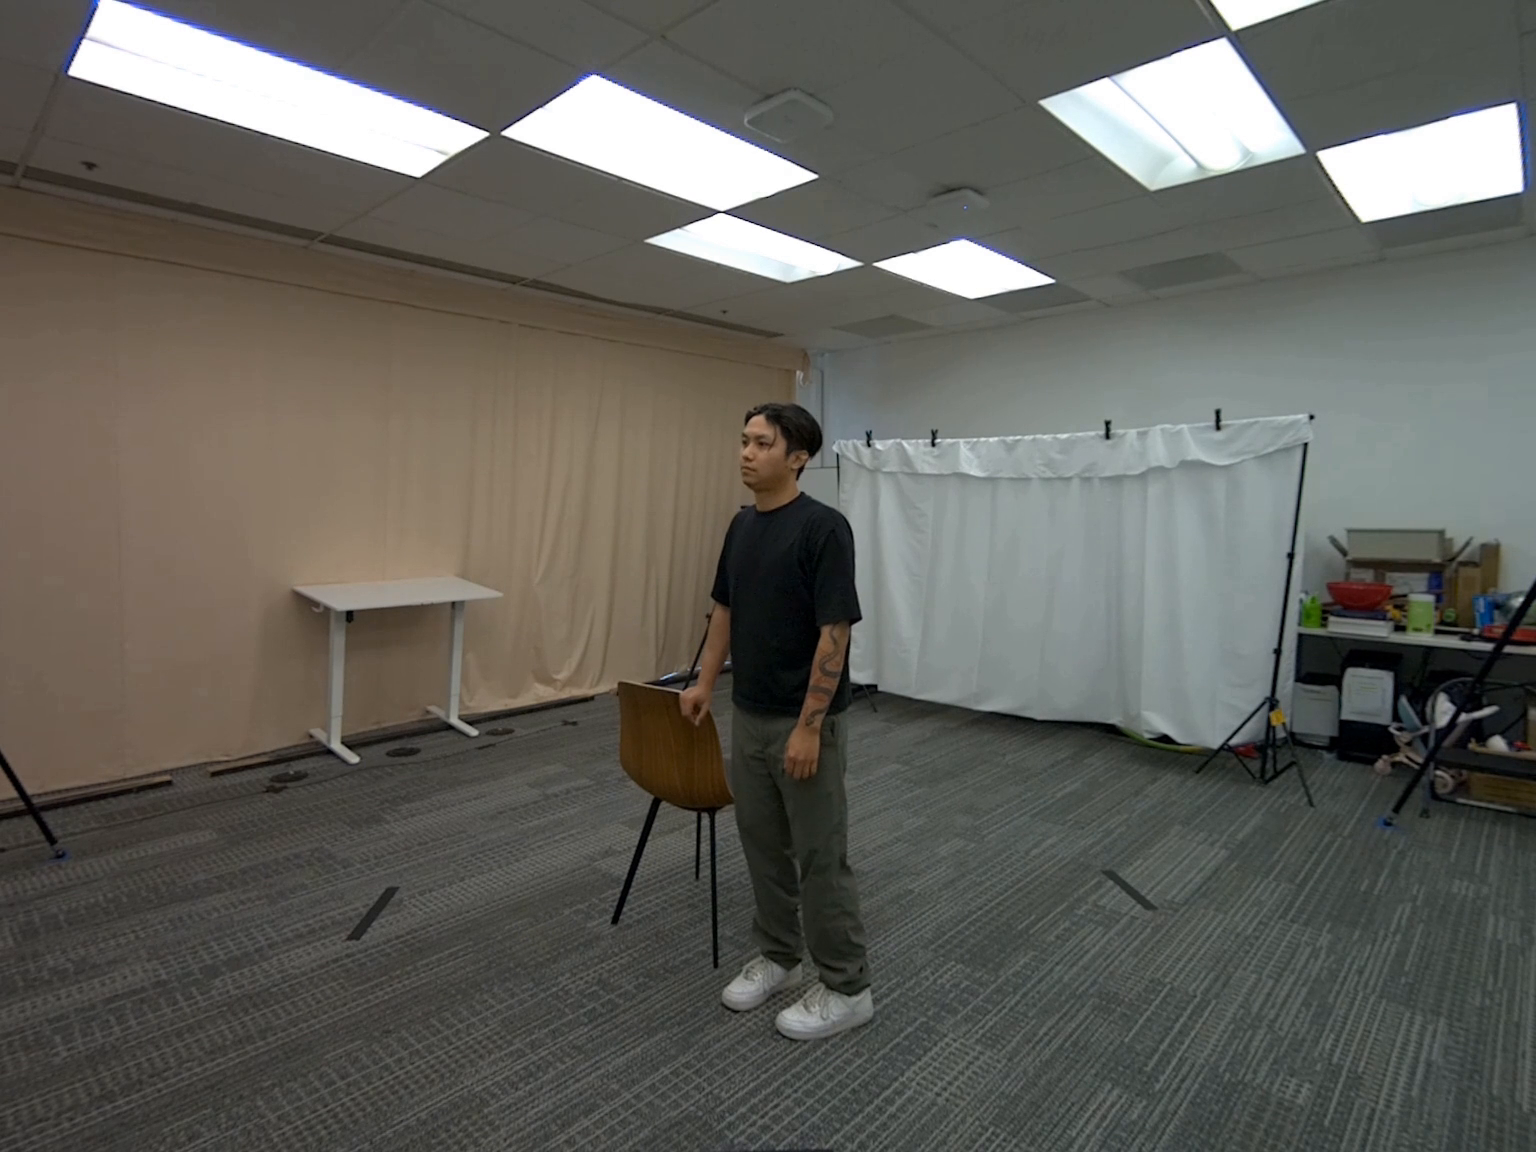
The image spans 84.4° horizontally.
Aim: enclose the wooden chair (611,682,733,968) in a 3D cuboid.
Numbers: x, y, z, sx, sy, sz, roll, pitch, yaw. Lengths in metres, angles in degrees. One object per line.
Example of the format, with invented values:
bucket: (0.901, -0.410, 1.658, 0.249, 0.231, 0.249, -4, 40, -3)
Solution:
wooden chair: (-0.209, 0.730, 2.827, 0.493, 0.873, 0.509, 2, 8, 36)
